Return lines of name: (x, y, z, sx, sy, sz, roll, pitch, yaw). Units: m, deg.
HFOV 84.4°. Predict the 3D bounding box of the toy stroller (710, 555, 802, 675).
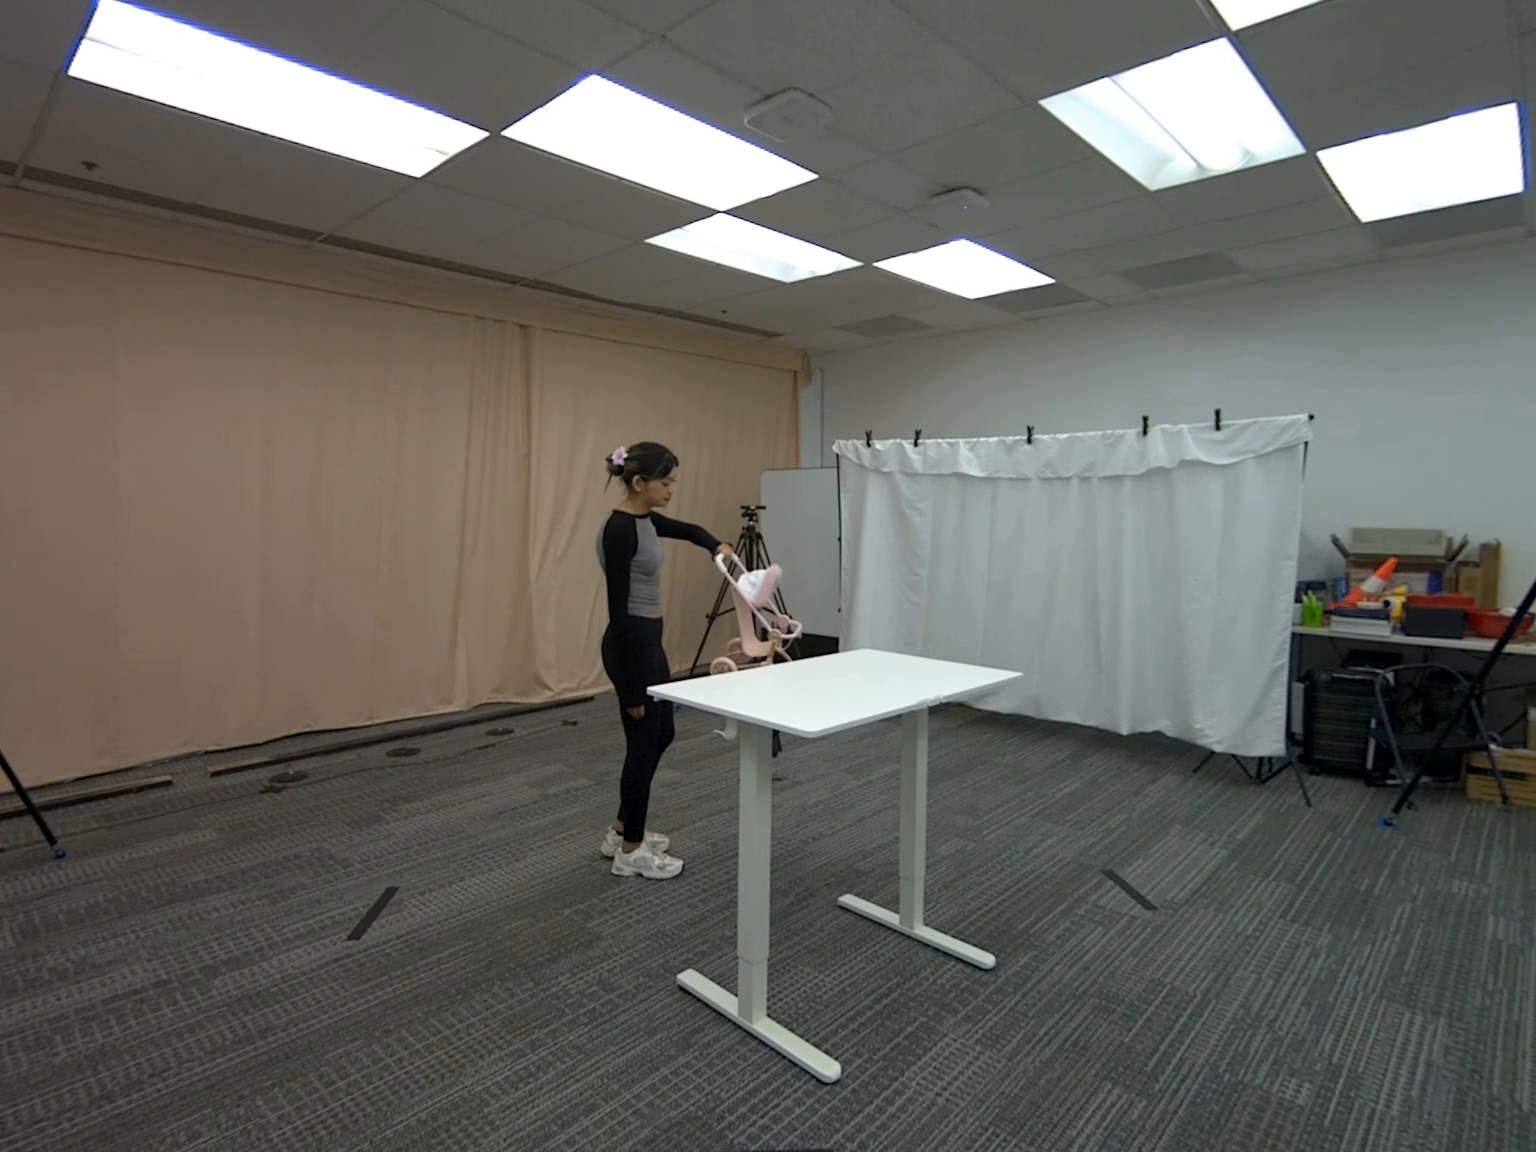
toy stroller: (-0.028, 0.190, 3.203, 0.348, 0.531, 0.278, 6, 11, 16)
